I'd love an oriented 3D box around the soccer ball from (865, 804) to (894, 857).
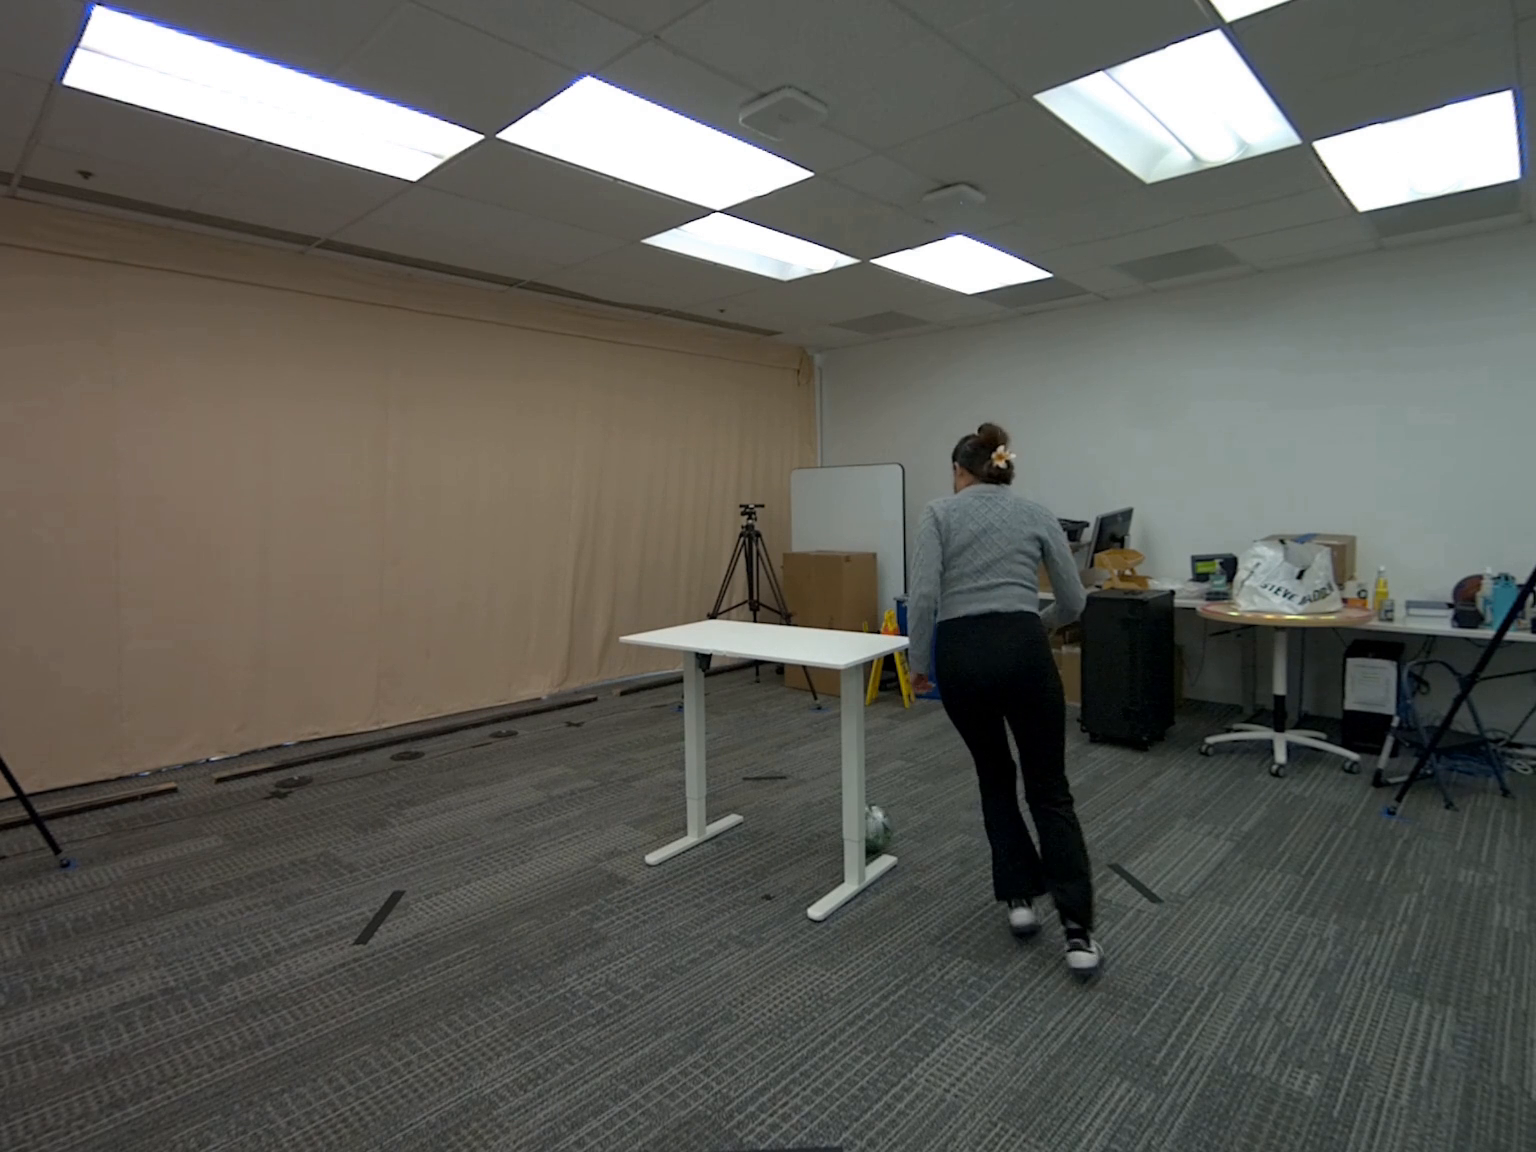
[{"bbox_3d":[0.408,1.005,3.362,0.187,0.187,0.188,-1,4,-2],"label":"soccer ball"}]
